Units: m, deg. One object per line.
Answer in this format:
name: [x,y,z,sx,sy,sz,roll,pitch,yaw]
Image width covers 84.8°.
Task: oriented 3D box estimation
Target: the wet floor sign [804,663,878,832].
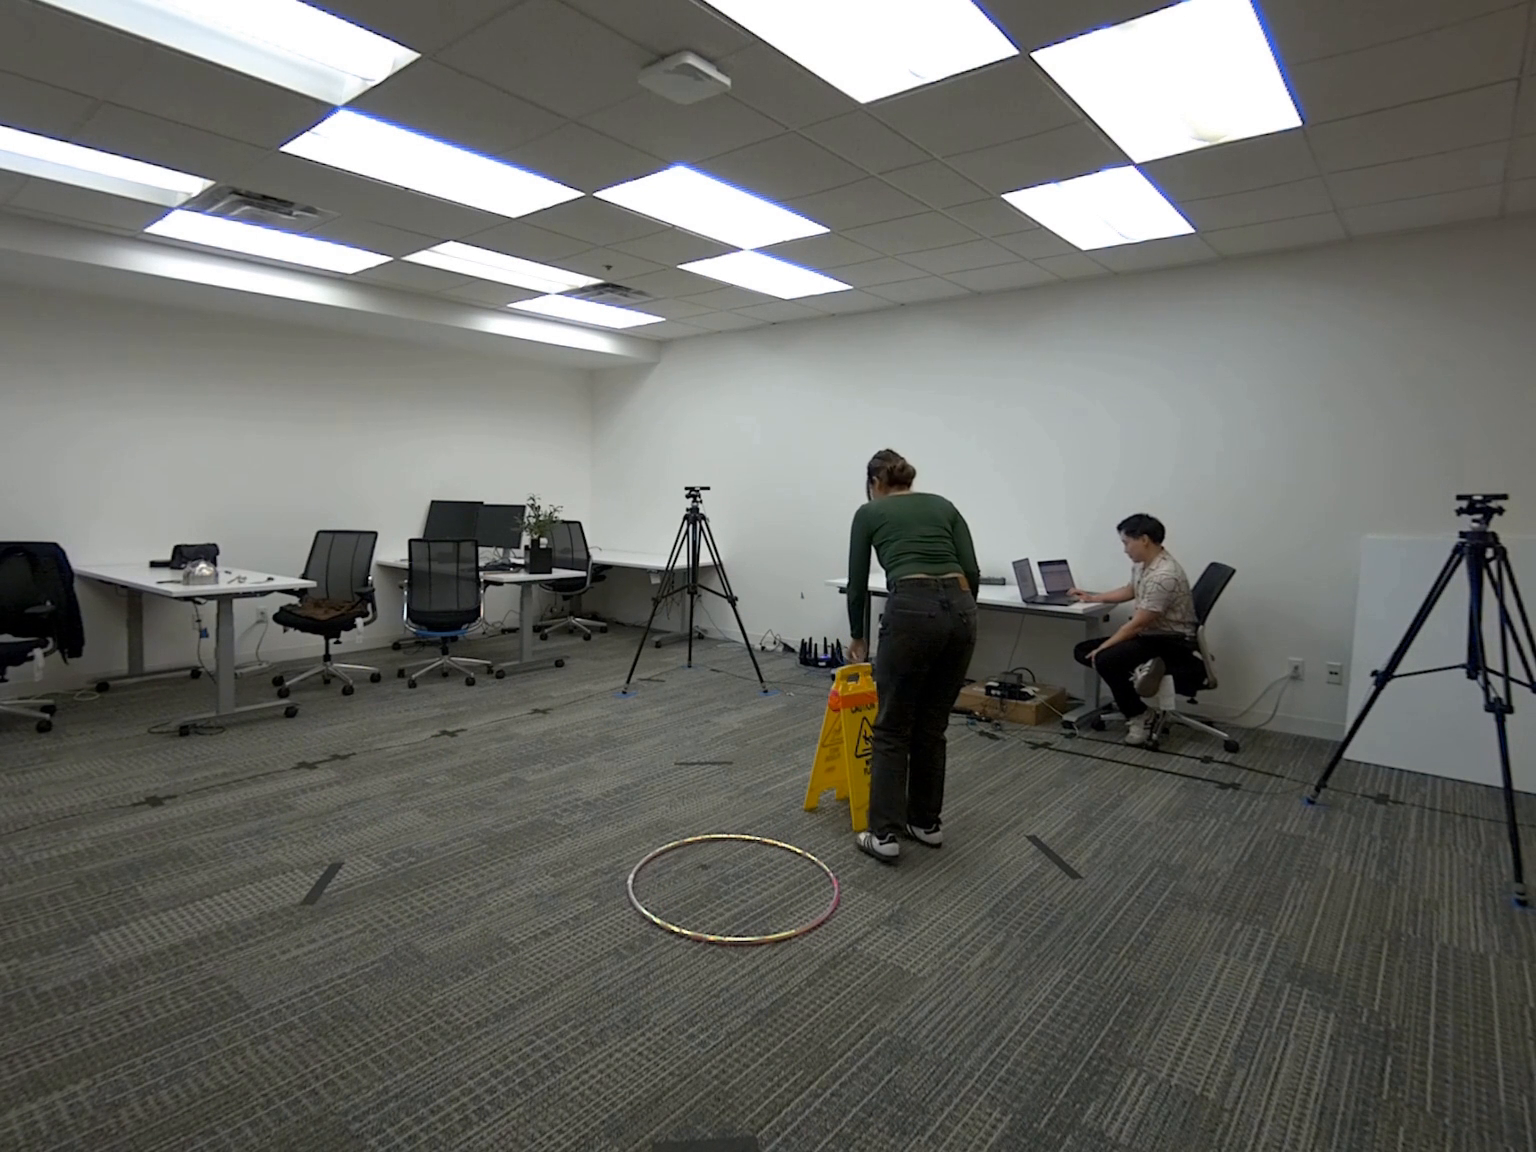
wet floor sign: [0.353,0.697,3.647,0.274,0.644,0.300,-3,5,-42]
